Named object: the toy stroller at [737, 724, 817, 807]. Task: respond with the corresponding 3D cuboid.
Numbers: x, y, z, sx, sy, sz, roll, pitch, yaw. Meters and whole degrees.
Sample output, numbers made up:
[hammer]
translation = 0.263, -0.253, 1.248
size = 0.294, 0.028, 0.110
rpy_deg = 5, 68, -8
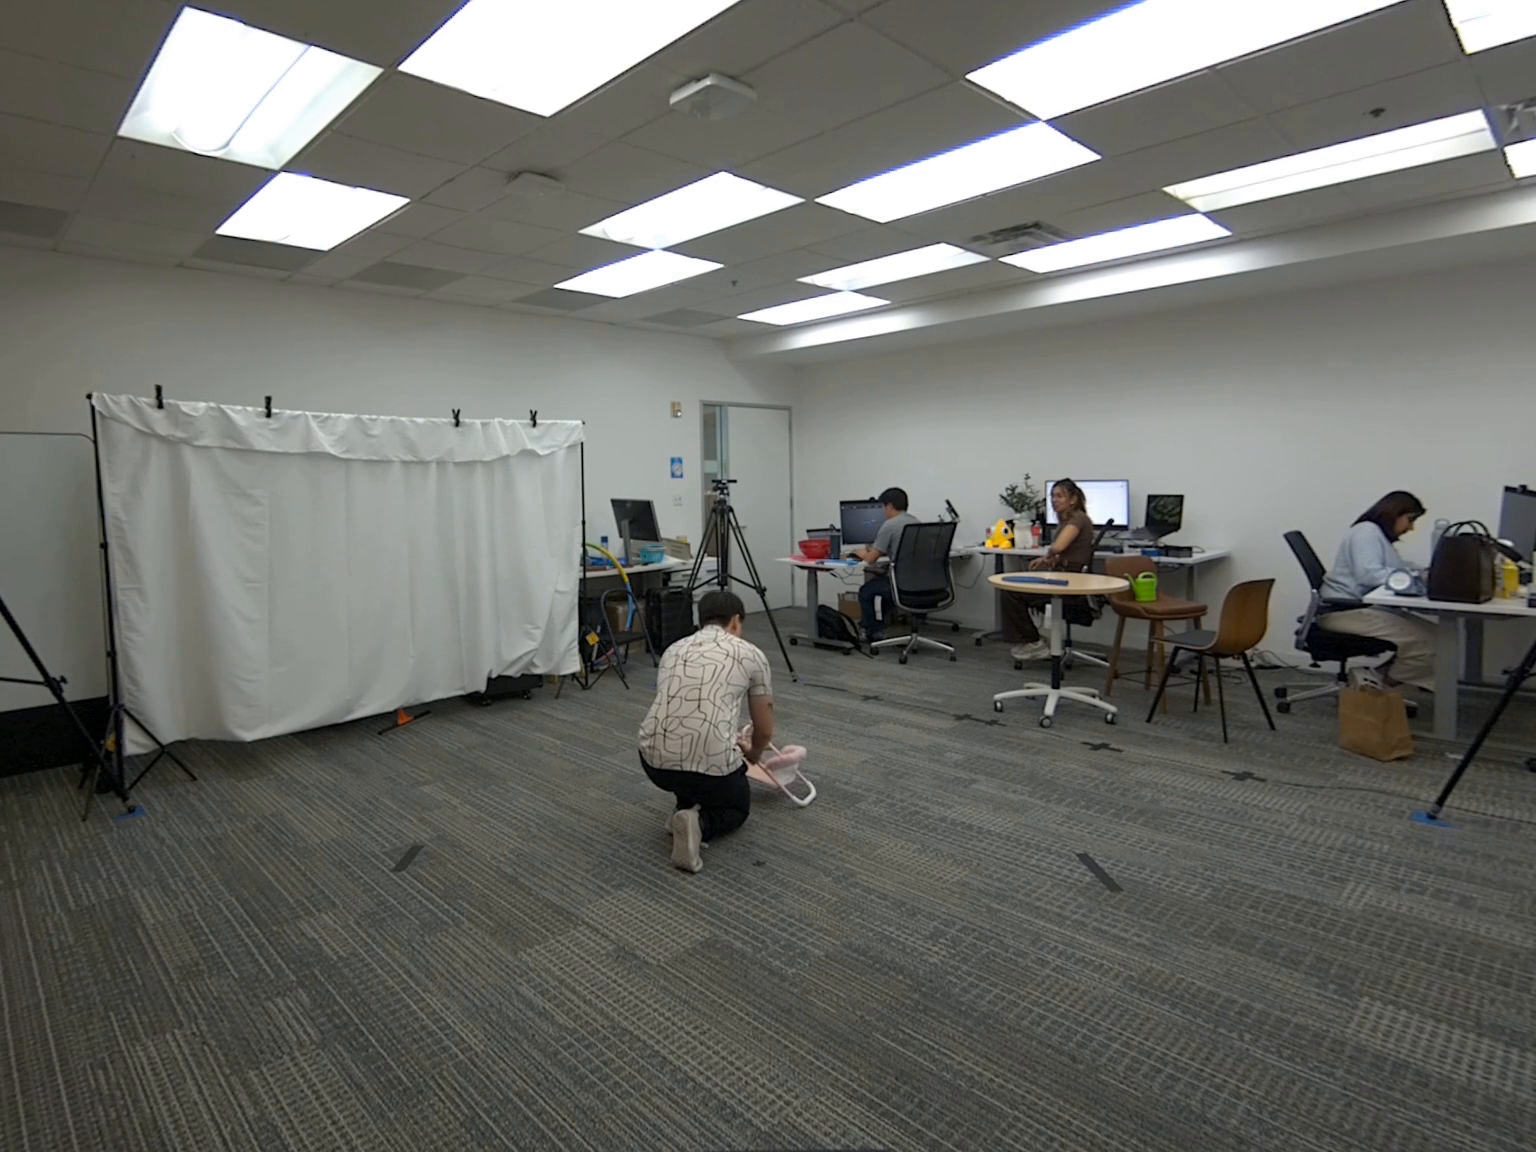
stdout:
[toy stroller]
translation = -0.061, 0.809, 3.809
size = 0.548, 0.341, 0.275
rpy_deg = 0, 0, 27
